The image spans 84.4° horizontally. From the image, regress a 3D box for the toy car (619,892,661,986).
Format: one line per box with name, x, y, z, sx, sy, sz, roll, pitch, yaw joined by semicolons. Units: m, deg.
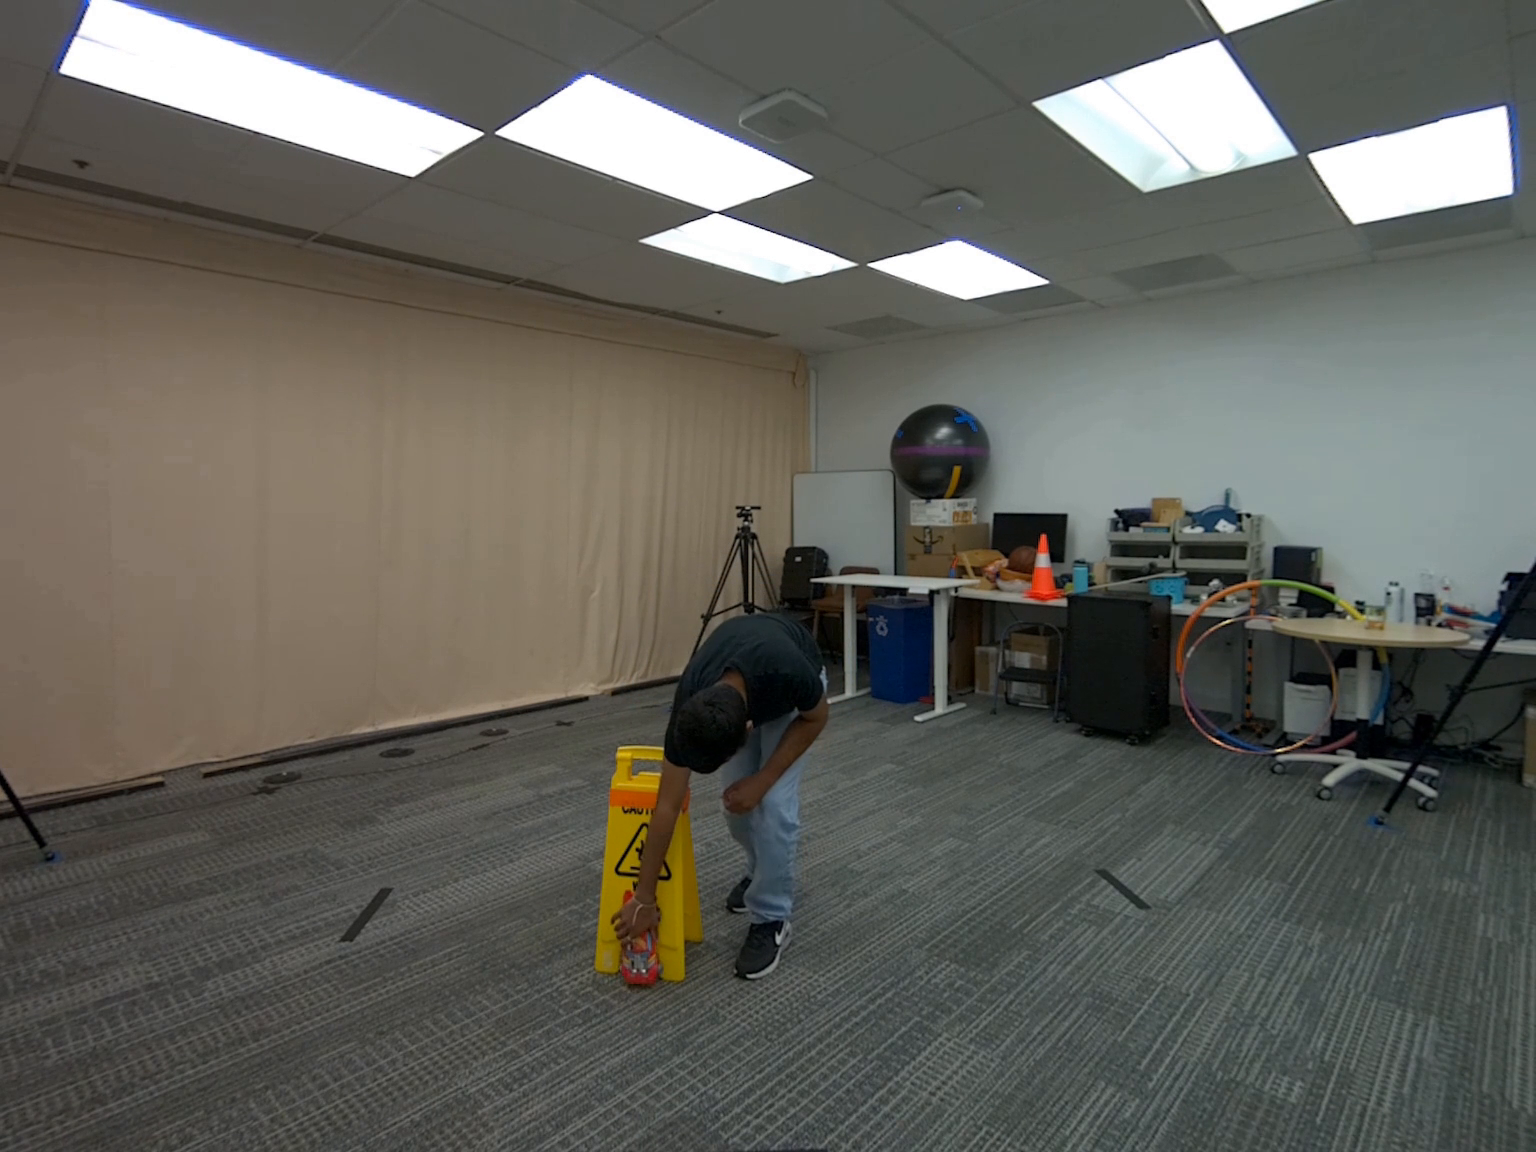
toy car;-0.370;1.043;2.470;0.132;0.255;0.082;-6;-4;11
